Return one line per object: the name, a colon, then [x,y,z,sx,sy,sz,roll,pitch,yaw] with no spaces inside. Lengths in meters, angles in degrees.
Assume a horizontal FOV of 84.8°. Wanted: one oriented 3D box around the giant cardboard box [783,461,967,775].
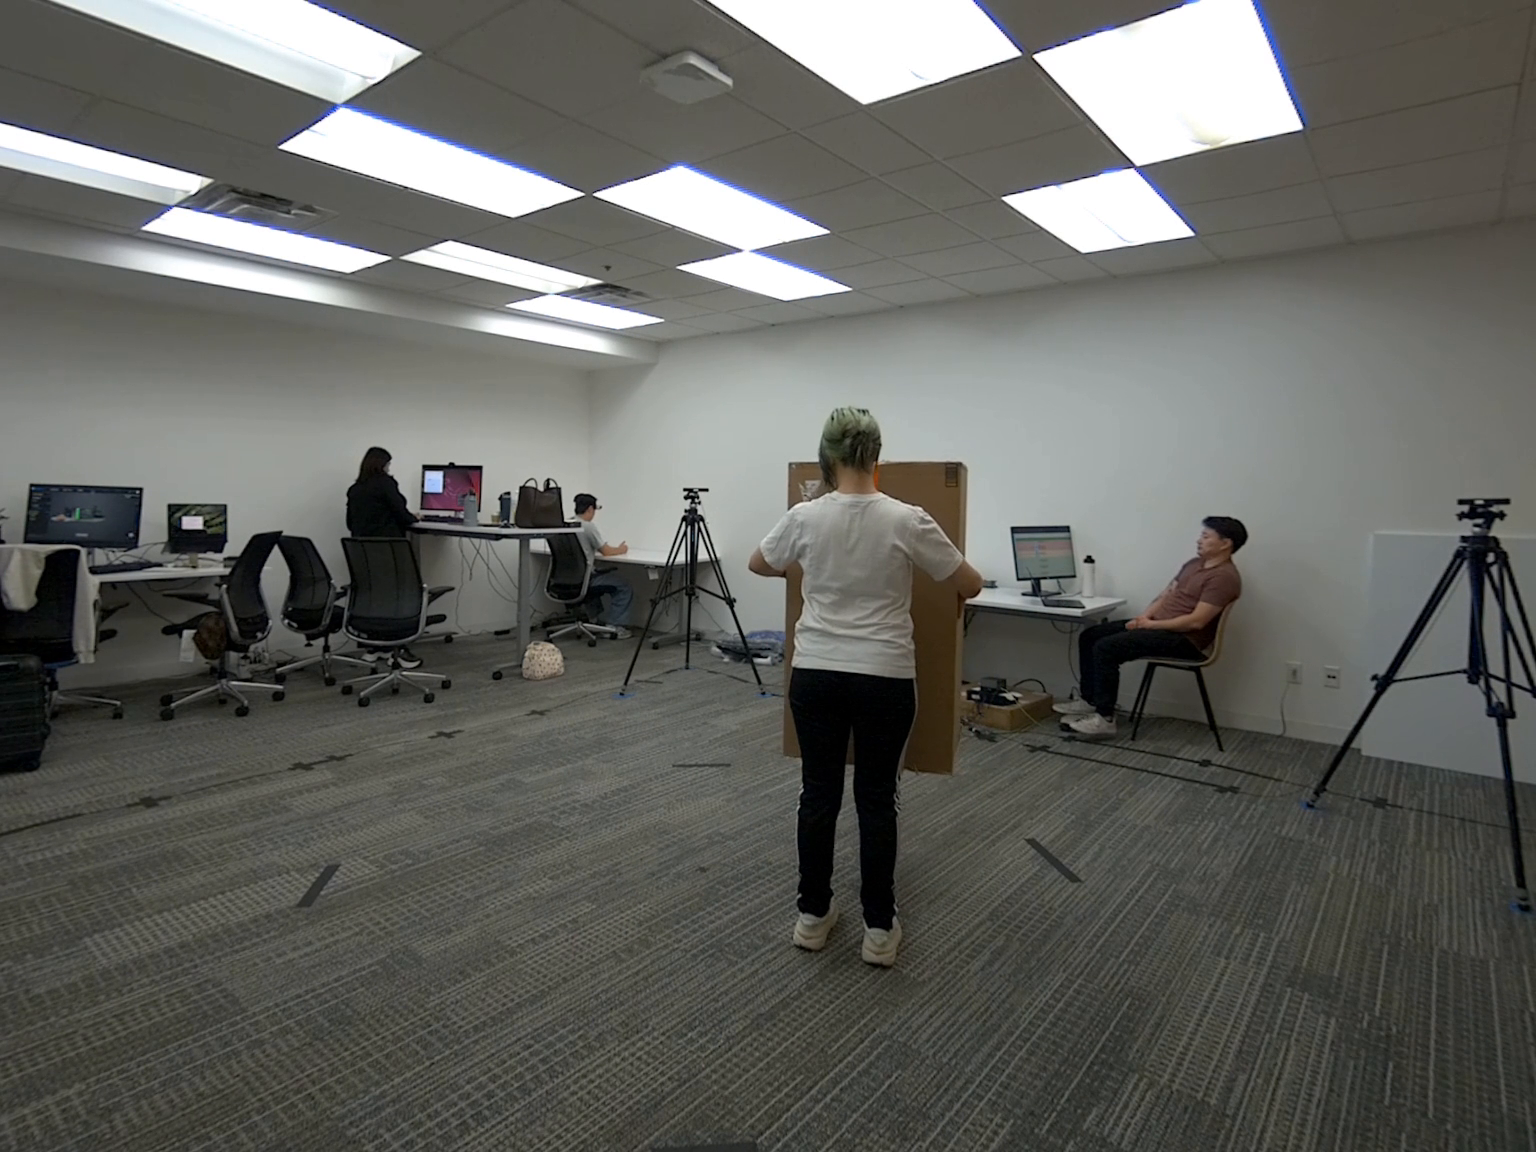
giant cardboard box: [0.380,0.114,3.038,0.589,1.024,0.419,2,2,18]
